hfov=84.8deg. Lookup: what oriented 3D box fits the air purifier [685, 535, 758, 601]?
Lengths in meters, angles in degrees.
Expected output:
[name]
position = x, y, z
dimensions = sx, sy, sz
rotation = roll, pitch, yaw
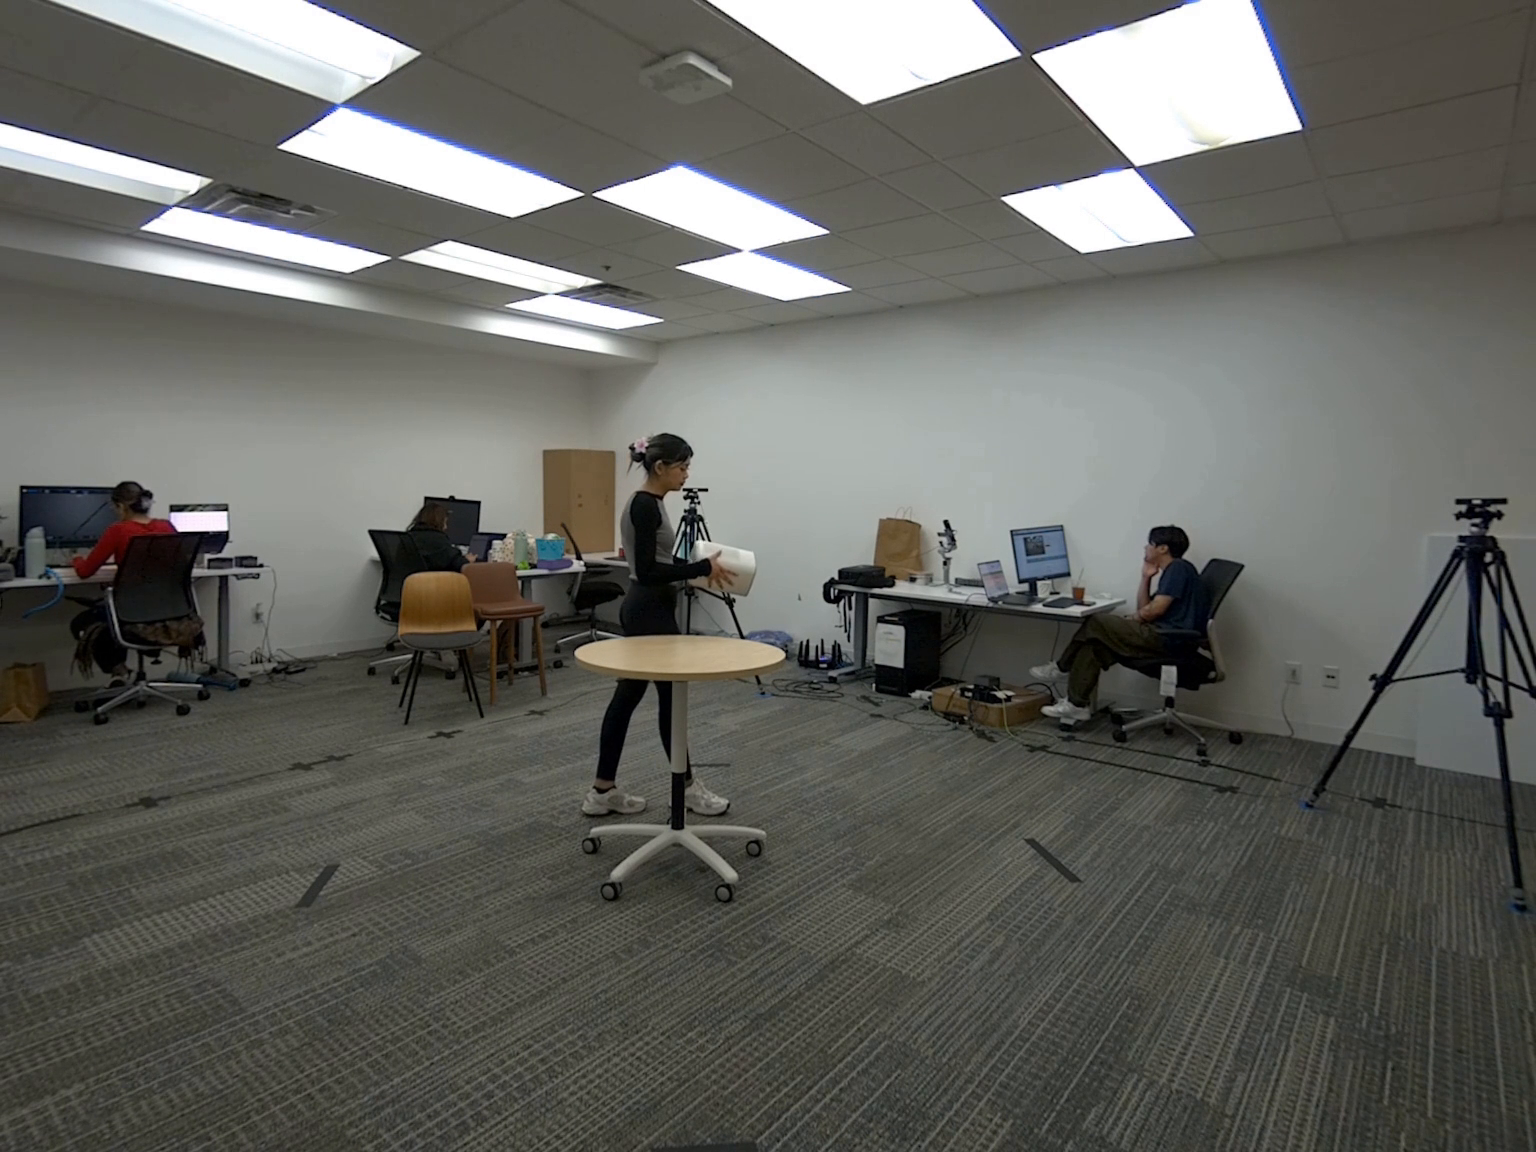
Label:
[air purifier]
position = -0.210, -0.036, 3.624
dimensions = 0.261, 0.168, 0.177
rotation = 12, 29, -13
